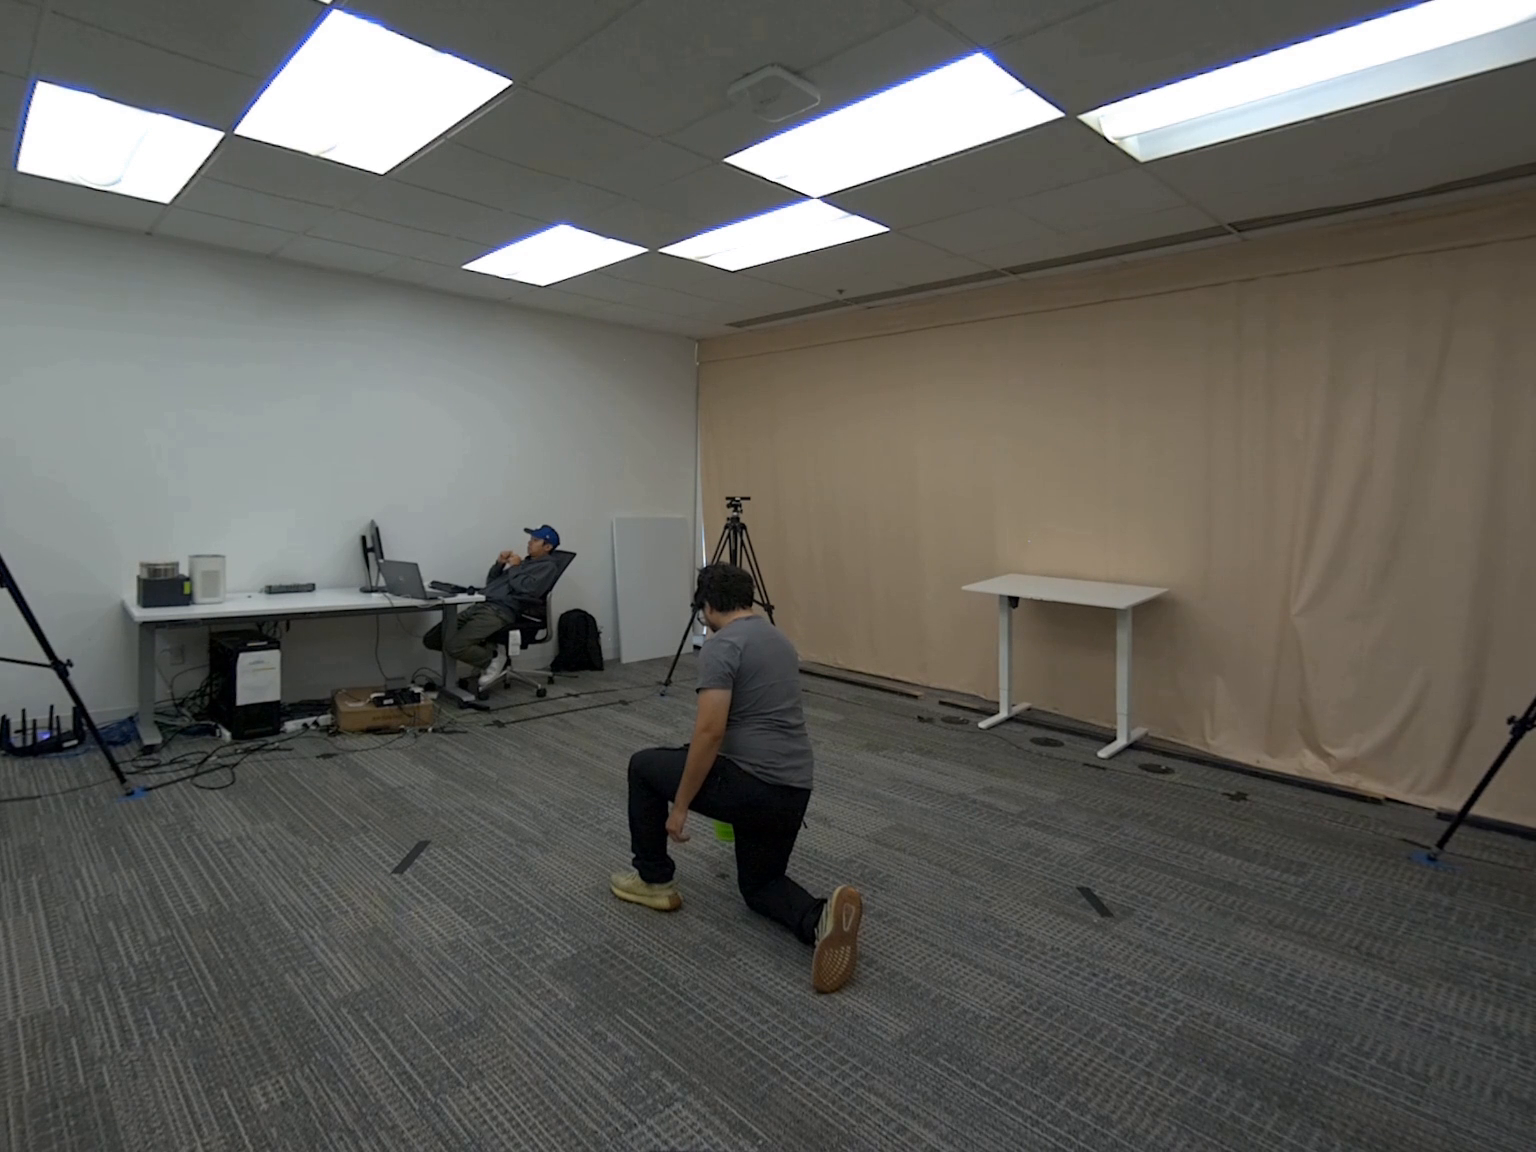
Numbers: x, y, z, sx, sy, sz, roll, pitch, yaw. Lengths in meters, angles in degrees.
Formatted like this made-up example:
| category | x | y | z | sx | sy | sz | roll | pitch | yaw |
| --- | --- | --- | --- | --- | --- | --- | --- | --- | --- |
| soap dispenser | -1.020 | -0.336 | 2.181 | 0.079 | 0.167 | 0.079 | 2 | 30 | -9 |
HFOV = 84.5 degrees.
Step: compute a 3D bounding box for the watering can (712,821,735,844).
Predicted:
| category | x | y | z | sx | sy | sz | roll | pitch | yaw |
| --- | --- | --- | --- | --- | --- | --- | --- | --- | --- |
| watering can | -0.185 | 0.924 | 3.252 | 0.096 | 0.176 | 0.284 | -6 | 3 | -35 |
